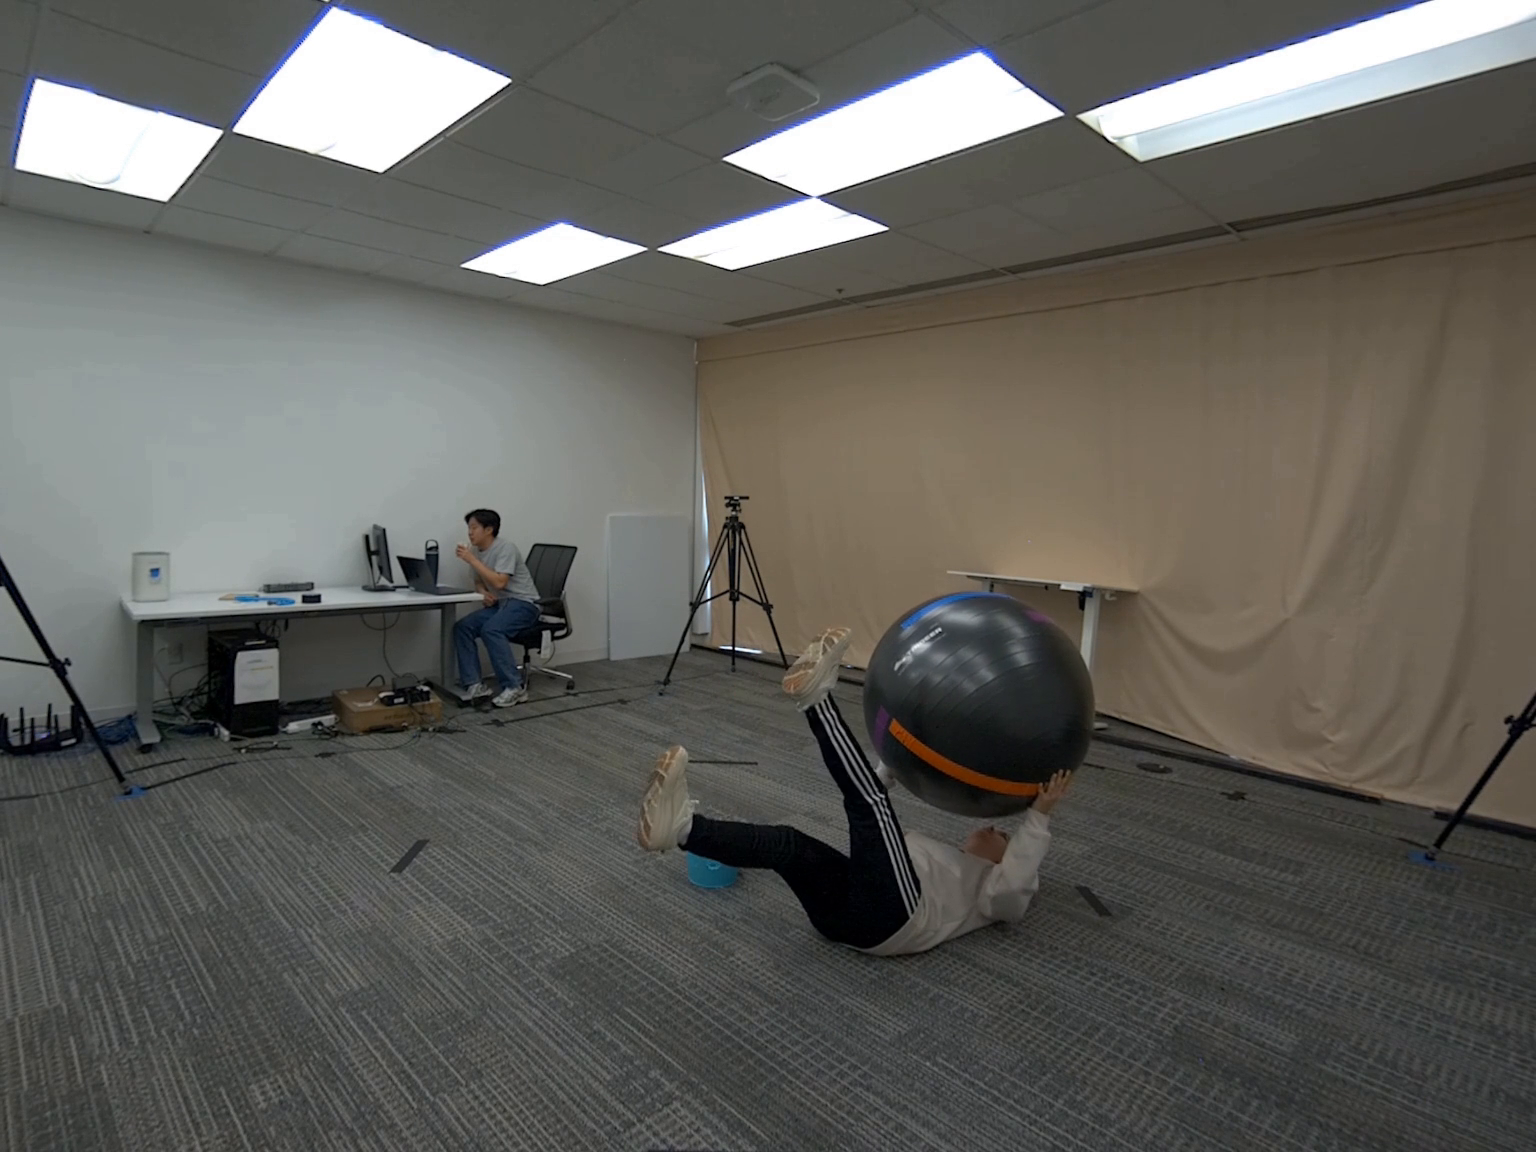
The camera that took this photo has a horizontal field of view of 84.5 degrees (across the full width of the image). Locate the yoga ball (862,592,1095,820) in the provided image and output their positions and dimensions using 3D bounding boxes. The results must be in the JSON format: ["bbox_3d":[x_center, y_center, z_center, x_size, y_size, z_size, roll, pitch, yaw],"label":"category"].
[{"bbox_3d":[0.714,0.434,2.883,0.757,0.756,0.761,1,4,-1],"label":"yoga ball"}]
